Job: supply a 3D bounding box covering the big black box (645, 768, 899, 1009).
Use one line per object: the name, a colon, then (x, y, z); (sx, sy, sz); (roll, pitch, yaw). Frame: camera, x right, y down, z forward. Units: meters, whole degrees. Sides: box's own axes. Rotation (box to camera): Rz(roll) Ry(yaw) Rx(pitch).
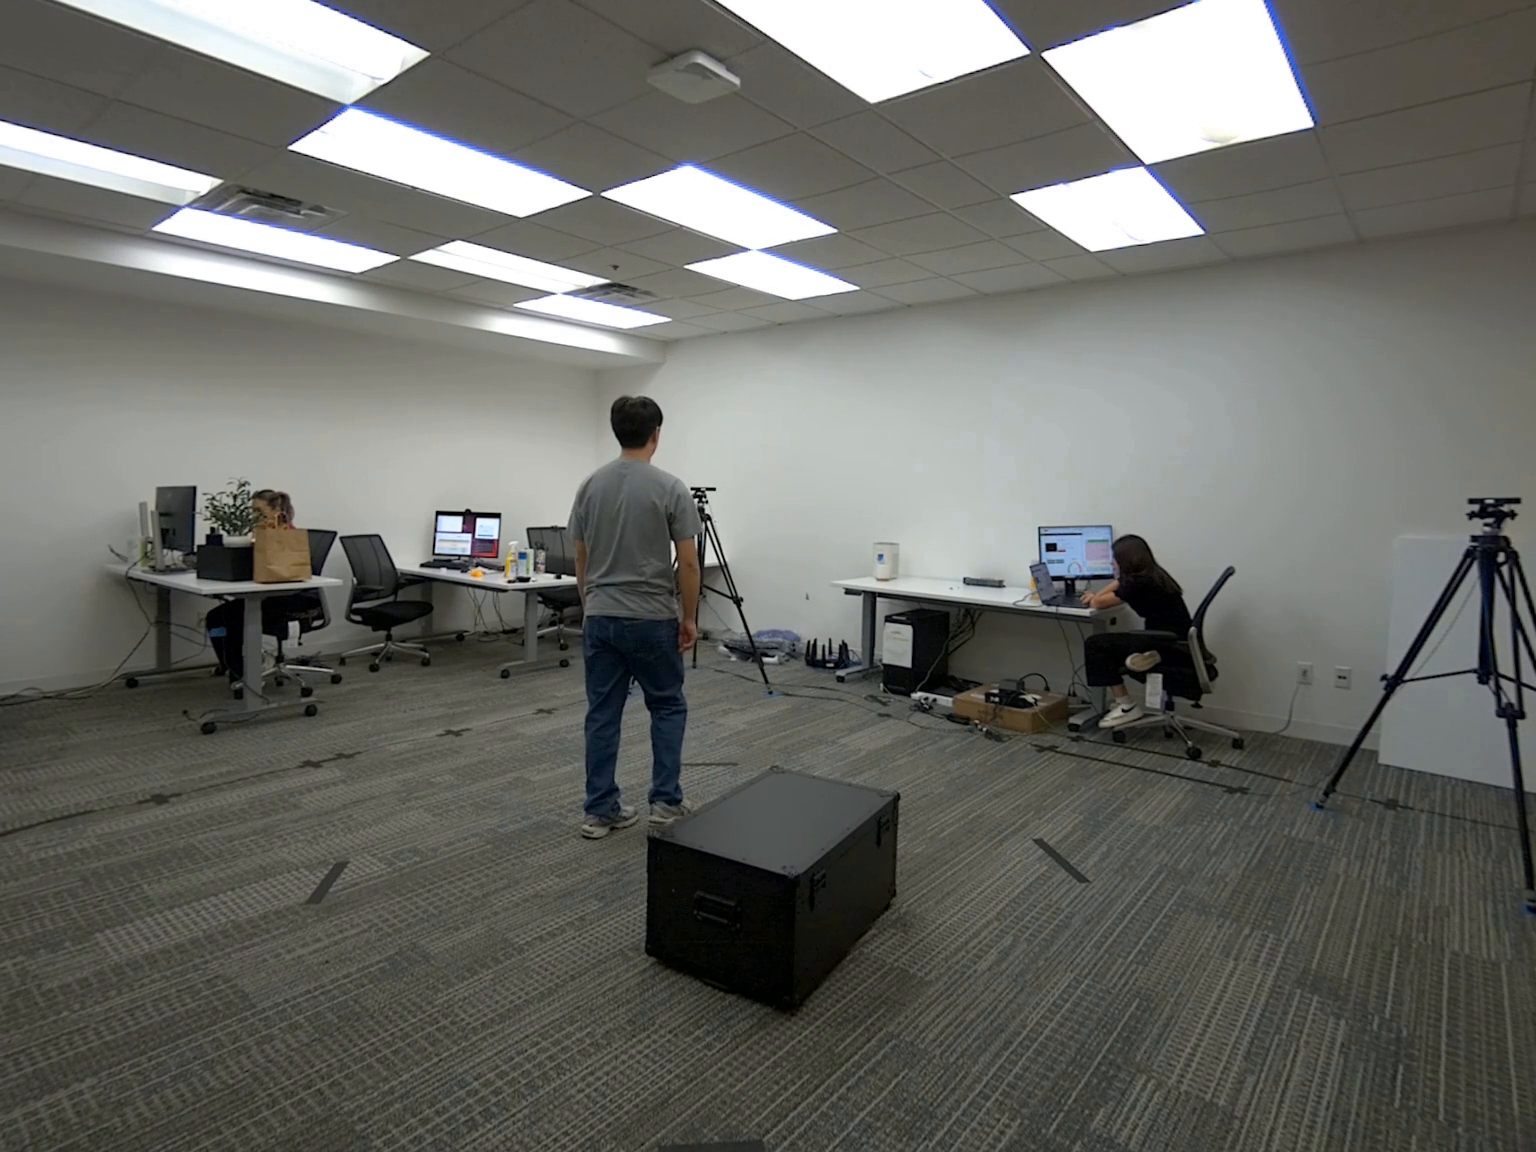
big black box: (0.051, 0.921, 2.698); (0.536, 0.395, 0.840); (3, 6, 29)
